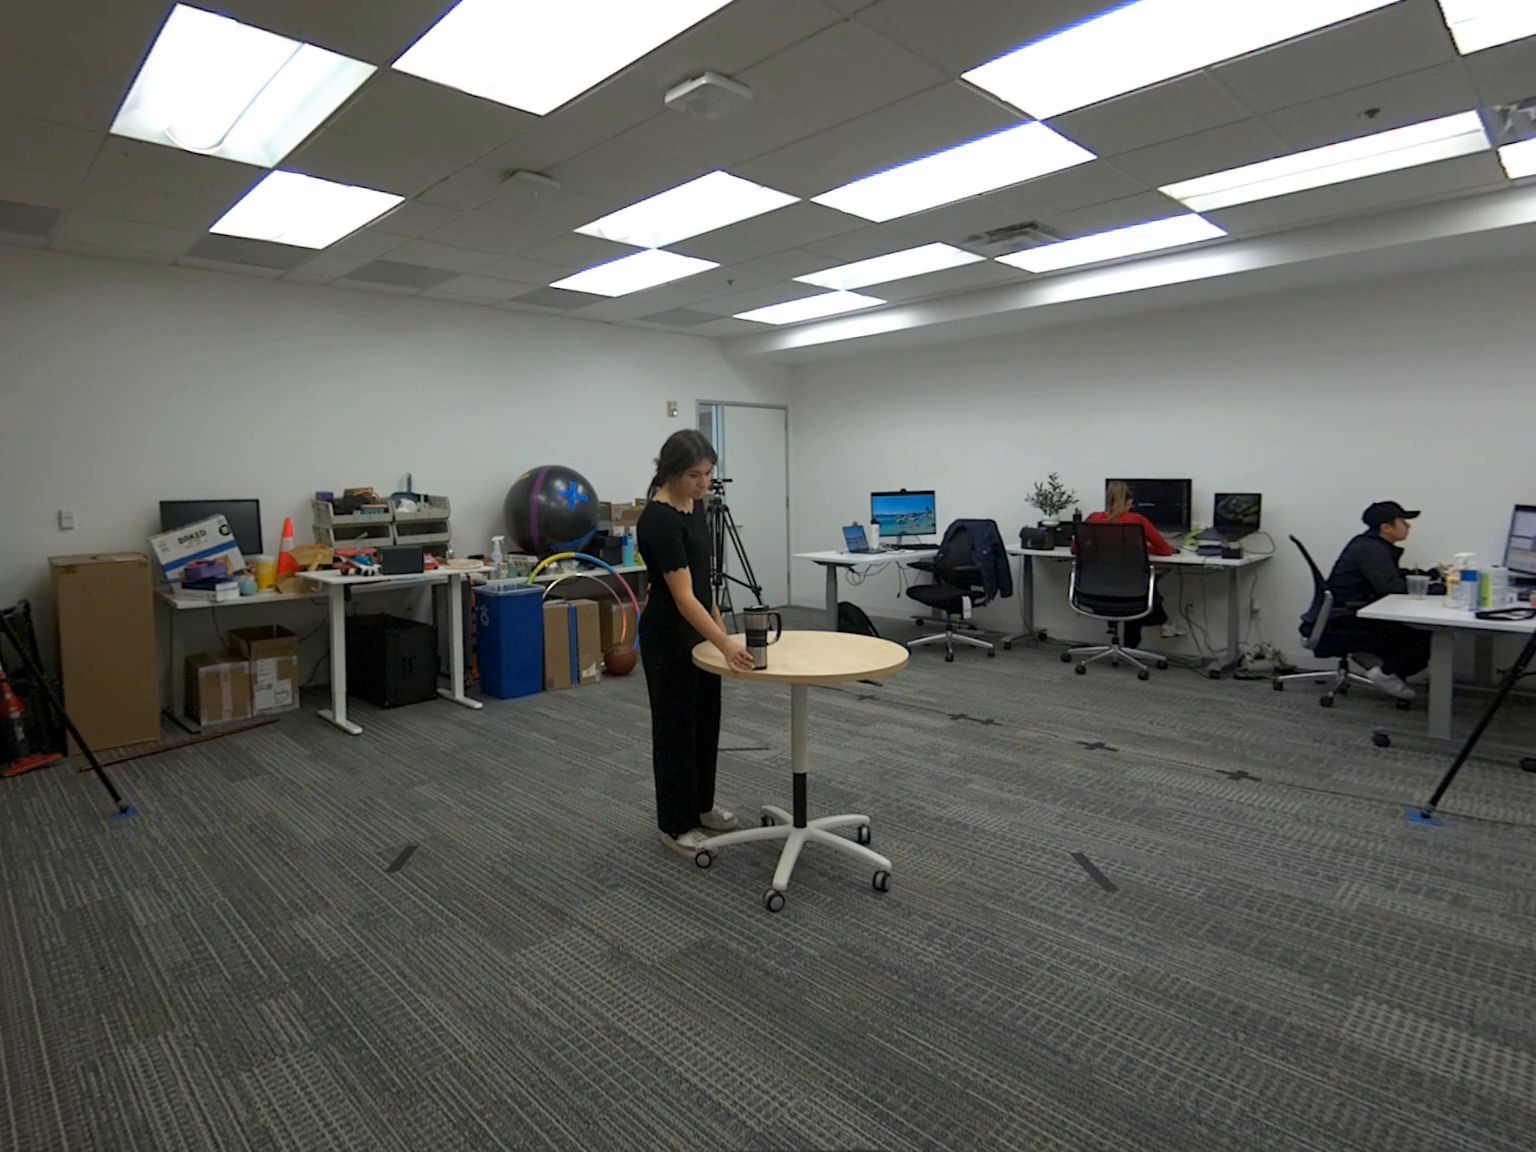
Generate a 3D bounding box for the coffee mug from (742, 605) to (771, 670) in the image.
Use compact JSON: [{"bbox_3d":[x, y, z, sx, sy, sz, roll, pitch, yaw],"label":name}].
[{"bbox_3d":[-0.018,0.200,2.752,0.125,0.203,0.086,-2,1,31],"label":"coffee mug"}]
